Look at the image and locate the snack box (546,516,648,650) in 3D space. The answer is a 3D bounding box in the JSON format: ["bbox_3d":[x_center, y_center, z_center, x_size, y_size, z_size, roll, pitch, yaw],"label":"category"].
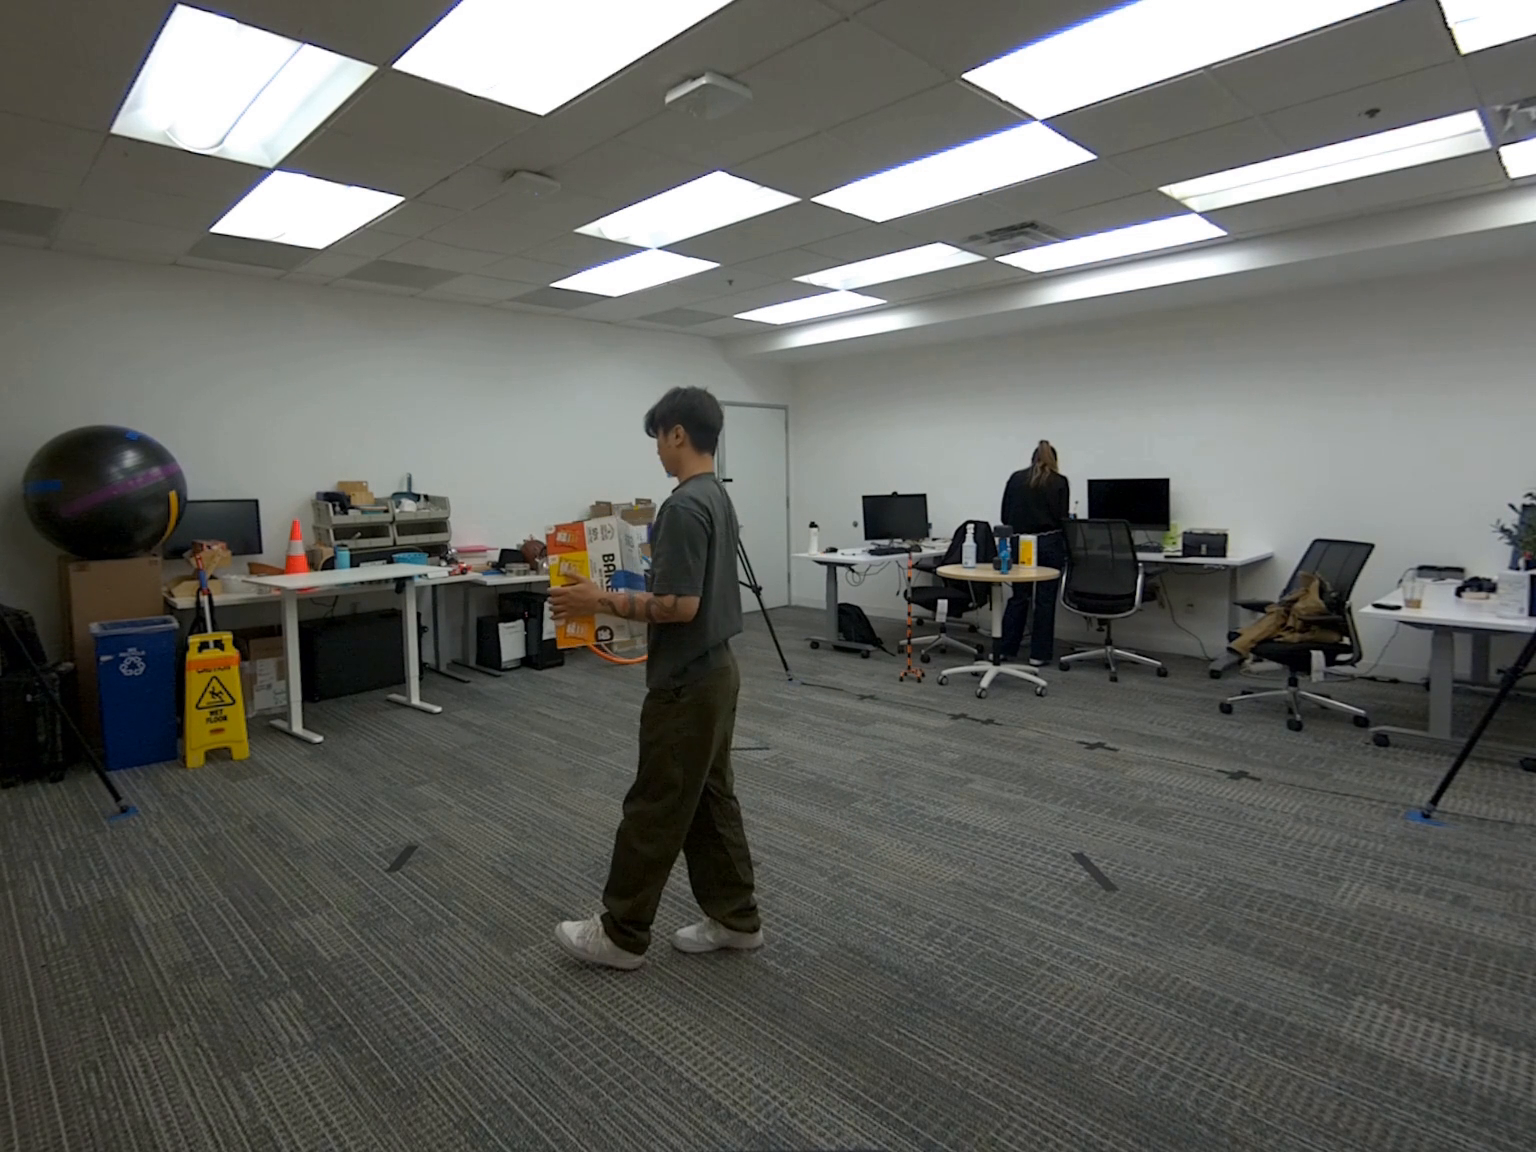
[{"bbox_3d":[-0.491,0.018,2.518,0.206,0.342,0.403,-6,-3,0],"label":"snack box"}]
